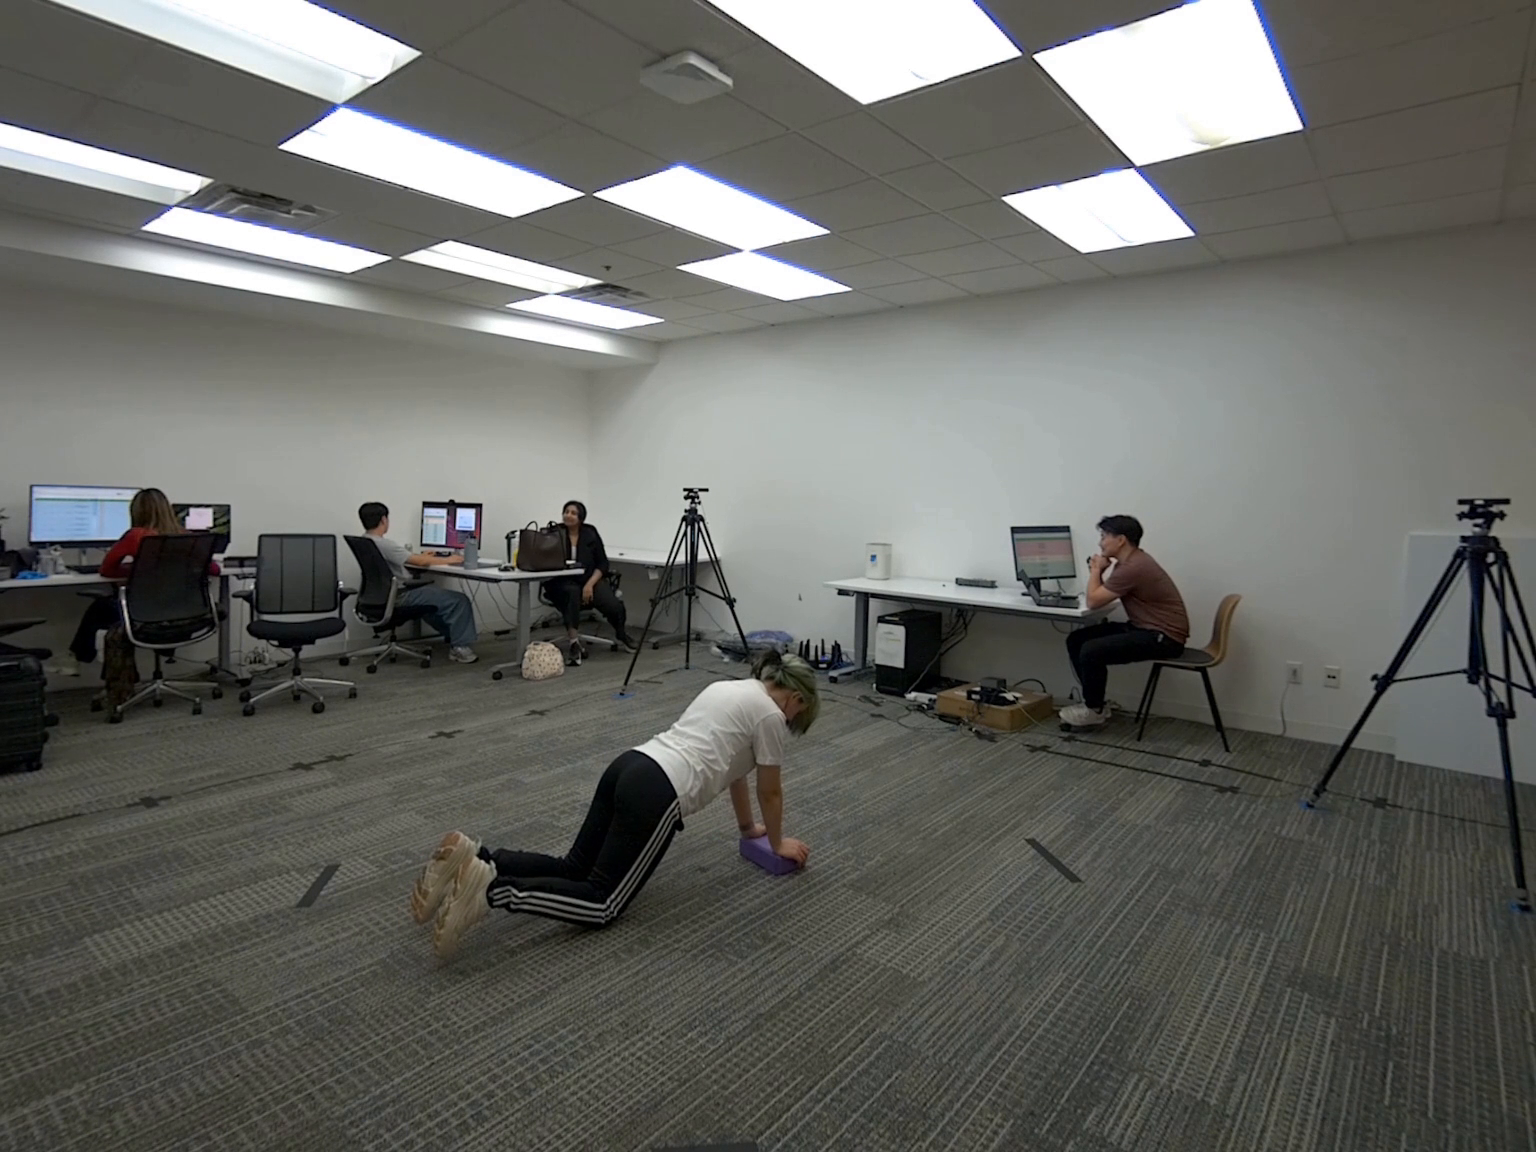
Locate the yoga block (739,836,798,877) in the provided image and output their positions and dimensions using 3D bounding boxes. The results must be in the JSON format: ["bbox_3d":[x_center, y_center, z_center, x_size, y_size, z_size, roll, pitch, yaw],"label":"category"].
[{"bbox_3d":[0.005,1.027,3.193,0.144,0.076,0.237,-1,5,-38],"label":"yoga block"}]
